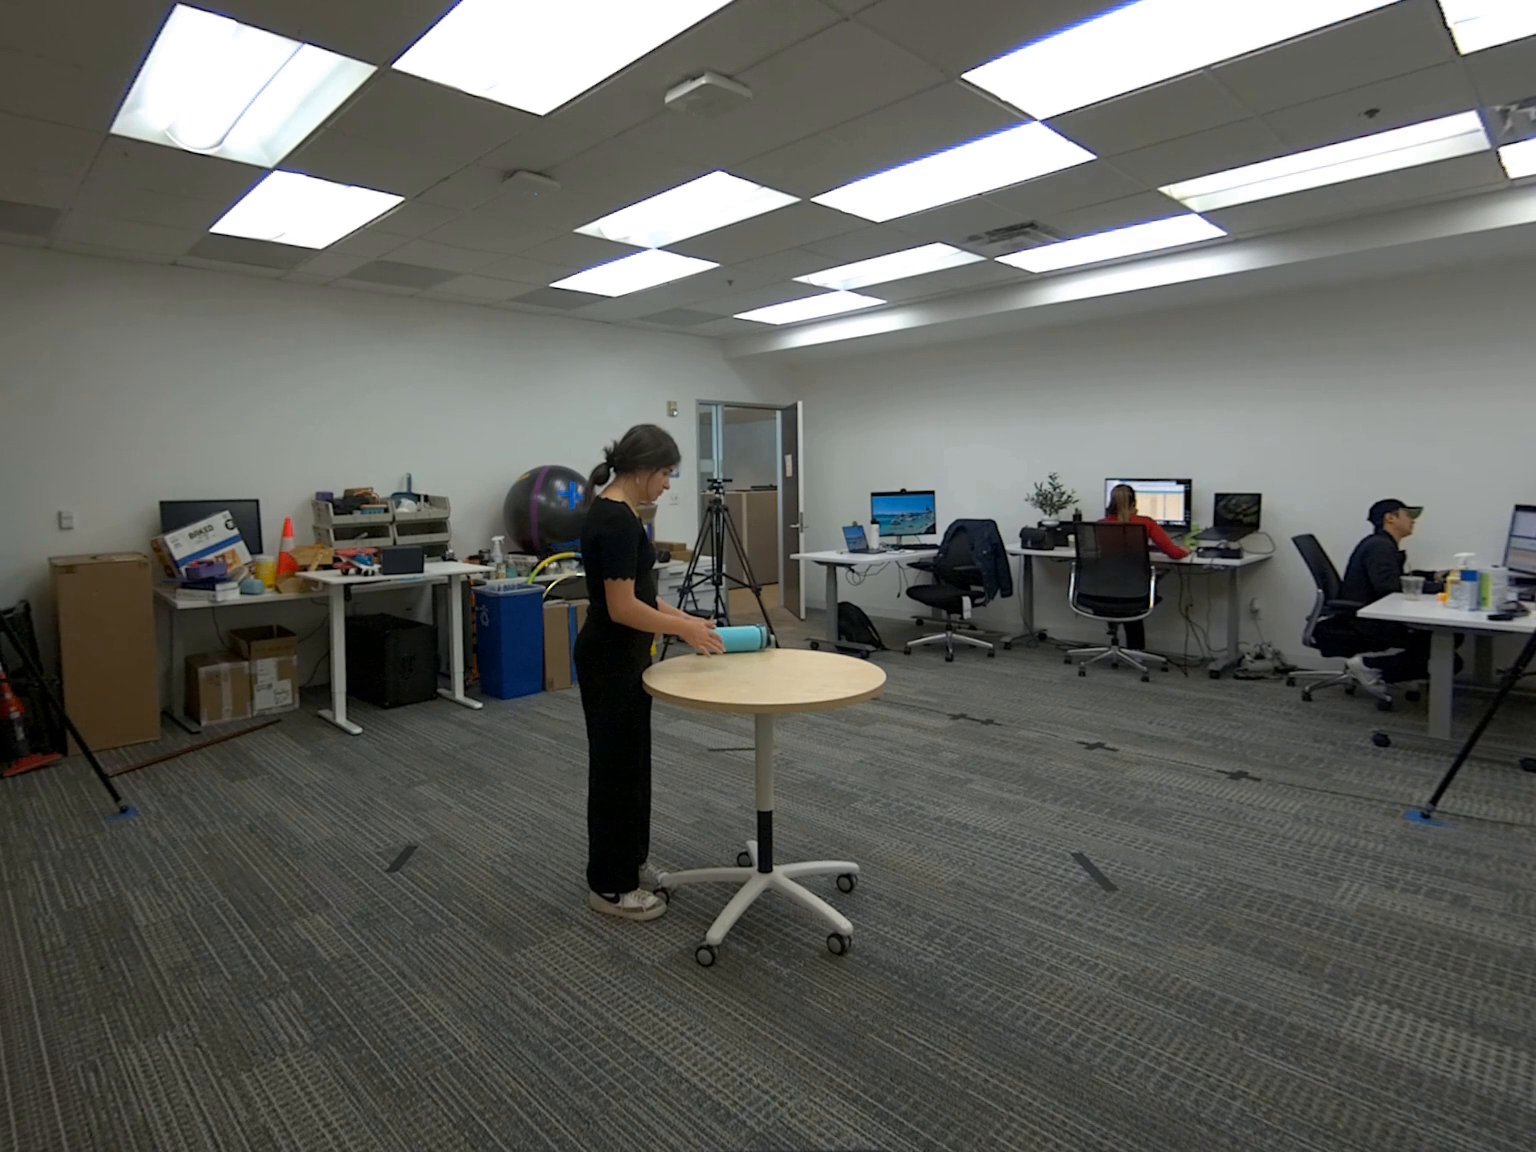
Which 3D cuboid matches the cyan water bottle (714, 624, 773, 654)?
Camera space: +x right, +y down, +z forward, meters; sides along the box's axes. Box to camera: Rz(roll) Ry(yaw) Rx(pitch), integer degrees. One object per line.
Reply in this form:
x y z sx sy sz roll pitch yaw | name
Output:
-0.120 0.225 3.018 0.280 0.092 0.094 -3 5 -13 | cyan water bottle
